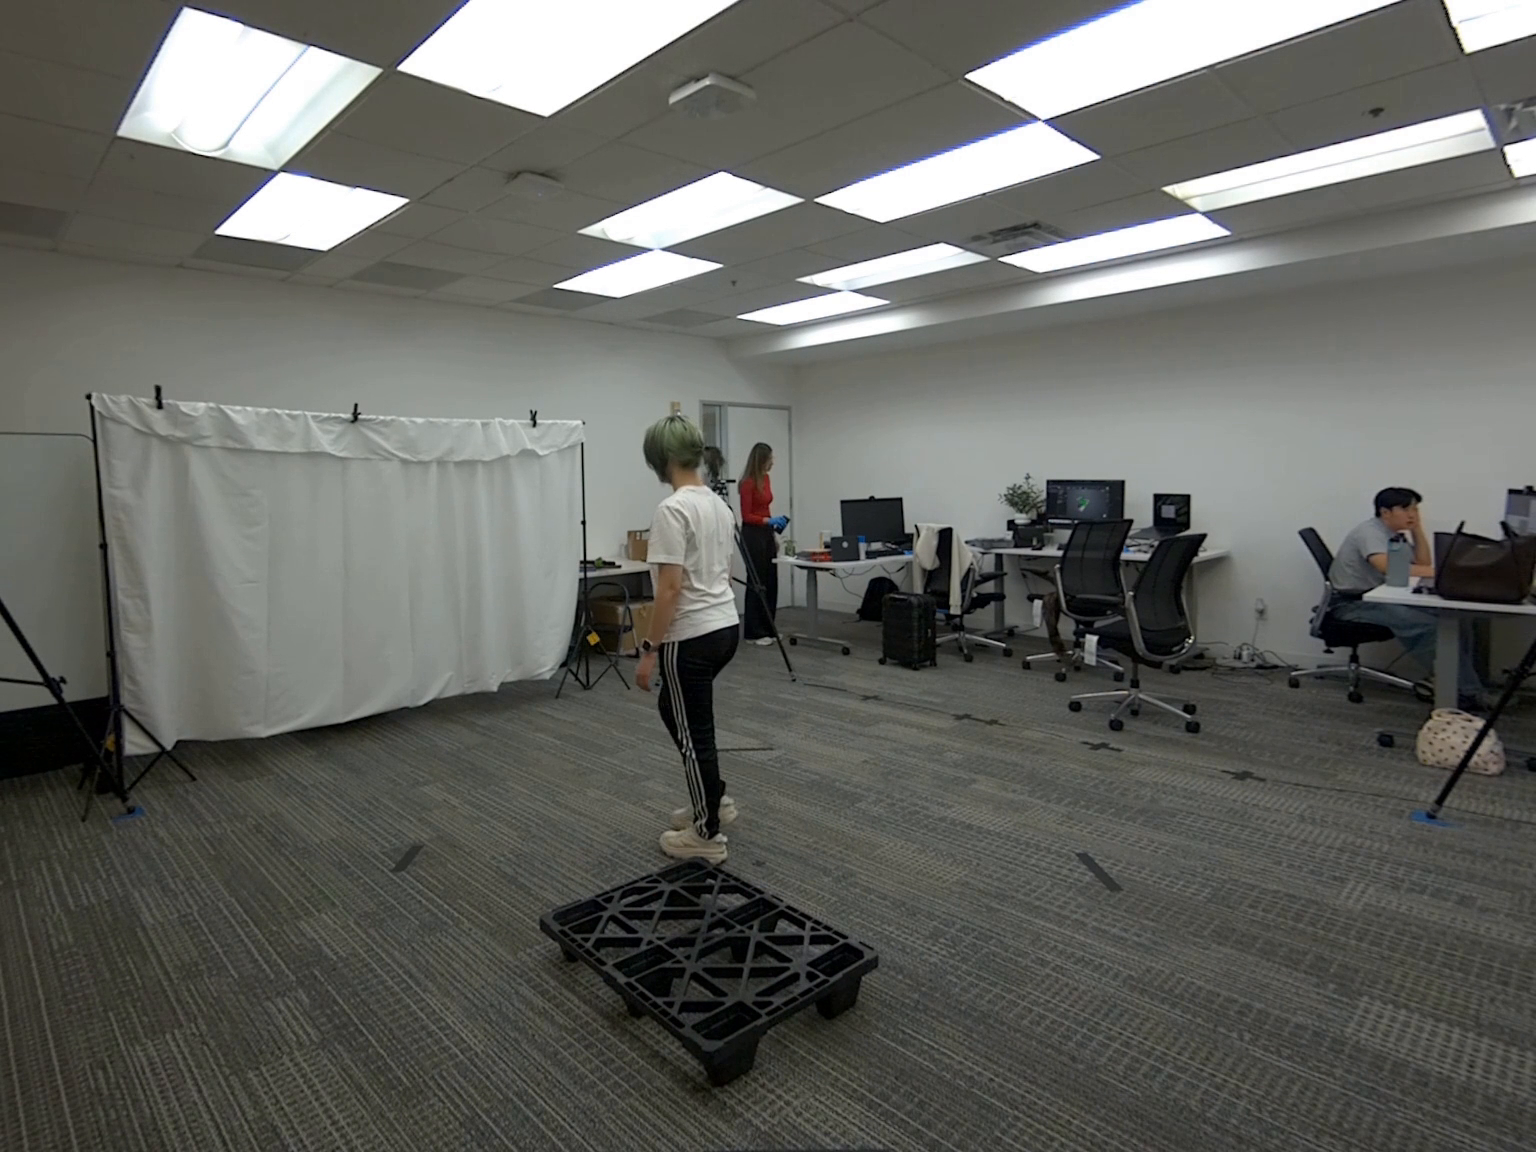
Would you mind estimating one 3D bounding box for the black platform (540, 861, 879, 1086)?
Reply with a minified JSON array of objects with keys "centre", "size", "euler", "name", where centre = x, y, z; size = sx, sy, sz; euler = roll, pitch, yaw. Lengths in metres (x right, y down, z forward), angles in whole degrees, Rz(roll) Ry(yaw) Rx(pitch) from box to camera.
[{"centre":[-0.183,1.070,2.401],"size":[0.589,0.142,0.831],"euler":[-7,9,-41],"name":"black platform"}]
